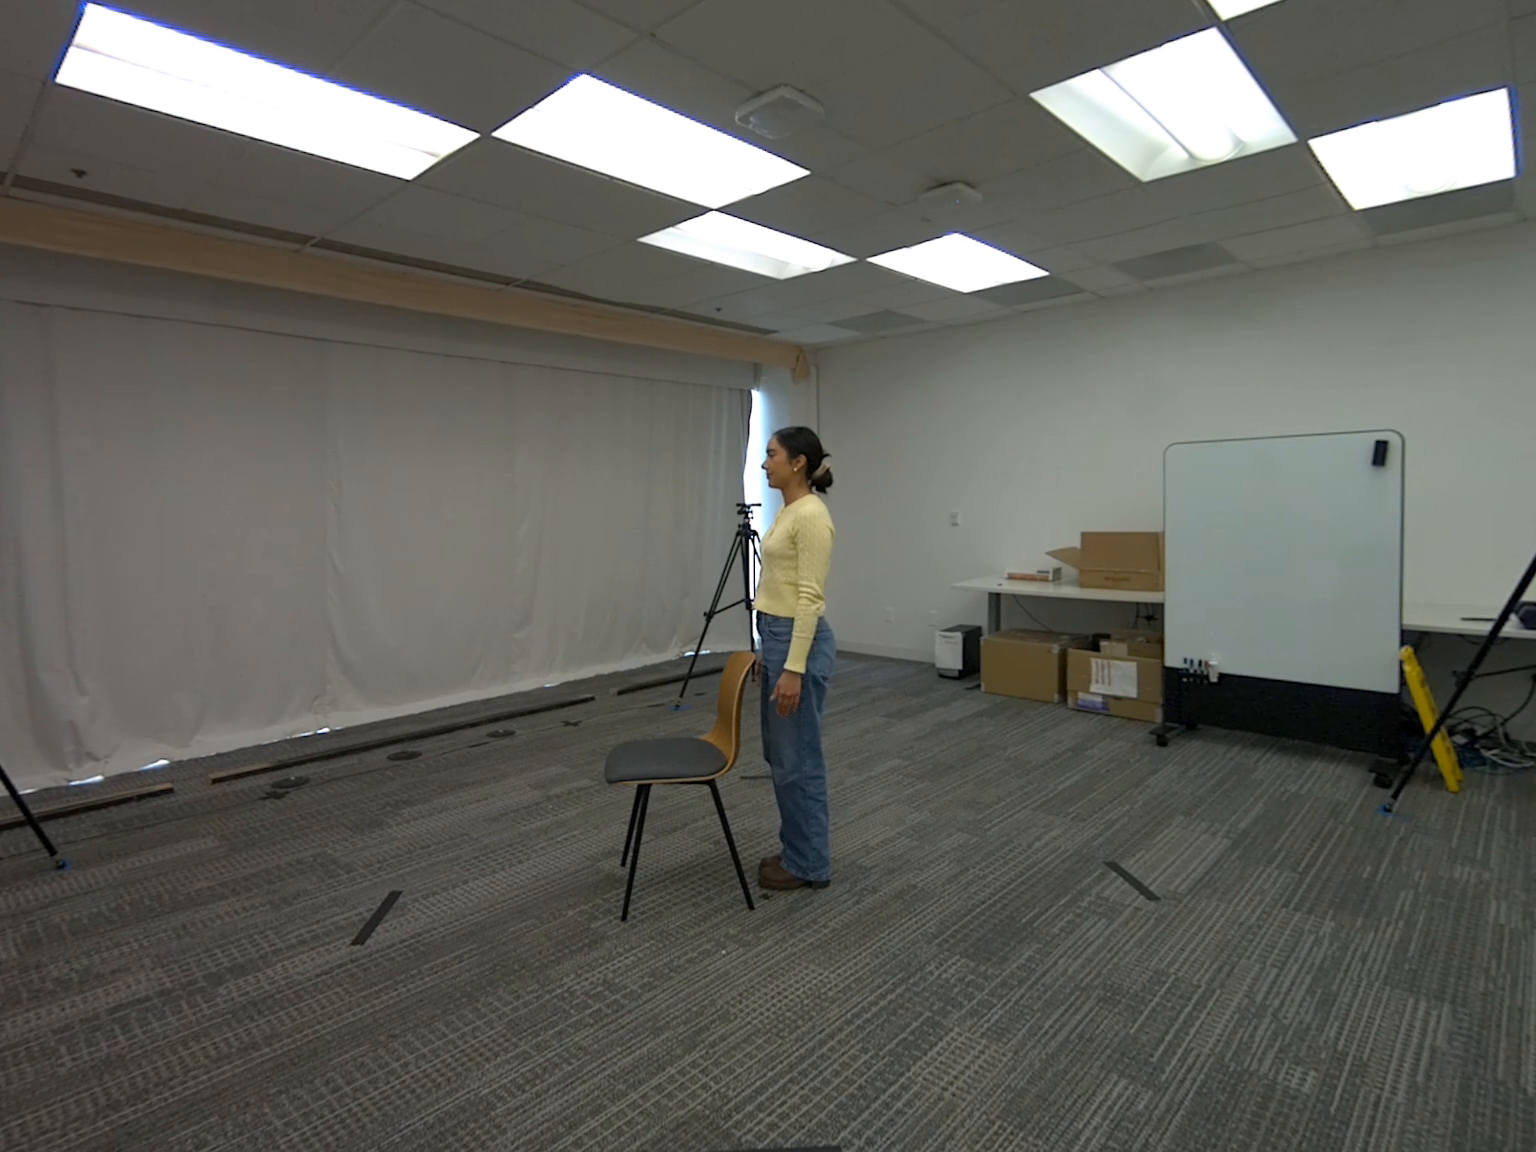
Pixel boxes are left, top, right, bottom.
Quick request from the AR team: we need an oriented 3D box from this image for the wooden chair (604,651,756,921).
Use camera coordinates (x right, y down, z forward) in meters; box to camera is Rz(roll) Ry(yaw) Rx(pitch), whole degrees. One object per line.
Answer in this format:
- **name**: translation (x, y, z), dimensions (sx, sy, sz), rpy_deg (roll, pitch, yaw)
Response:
- **wooden chair**: translation (-0.329, 0.714, 3.045), dimensions (0.518, 0.875, 0.484), rpy_deg (2, 3, -9)
